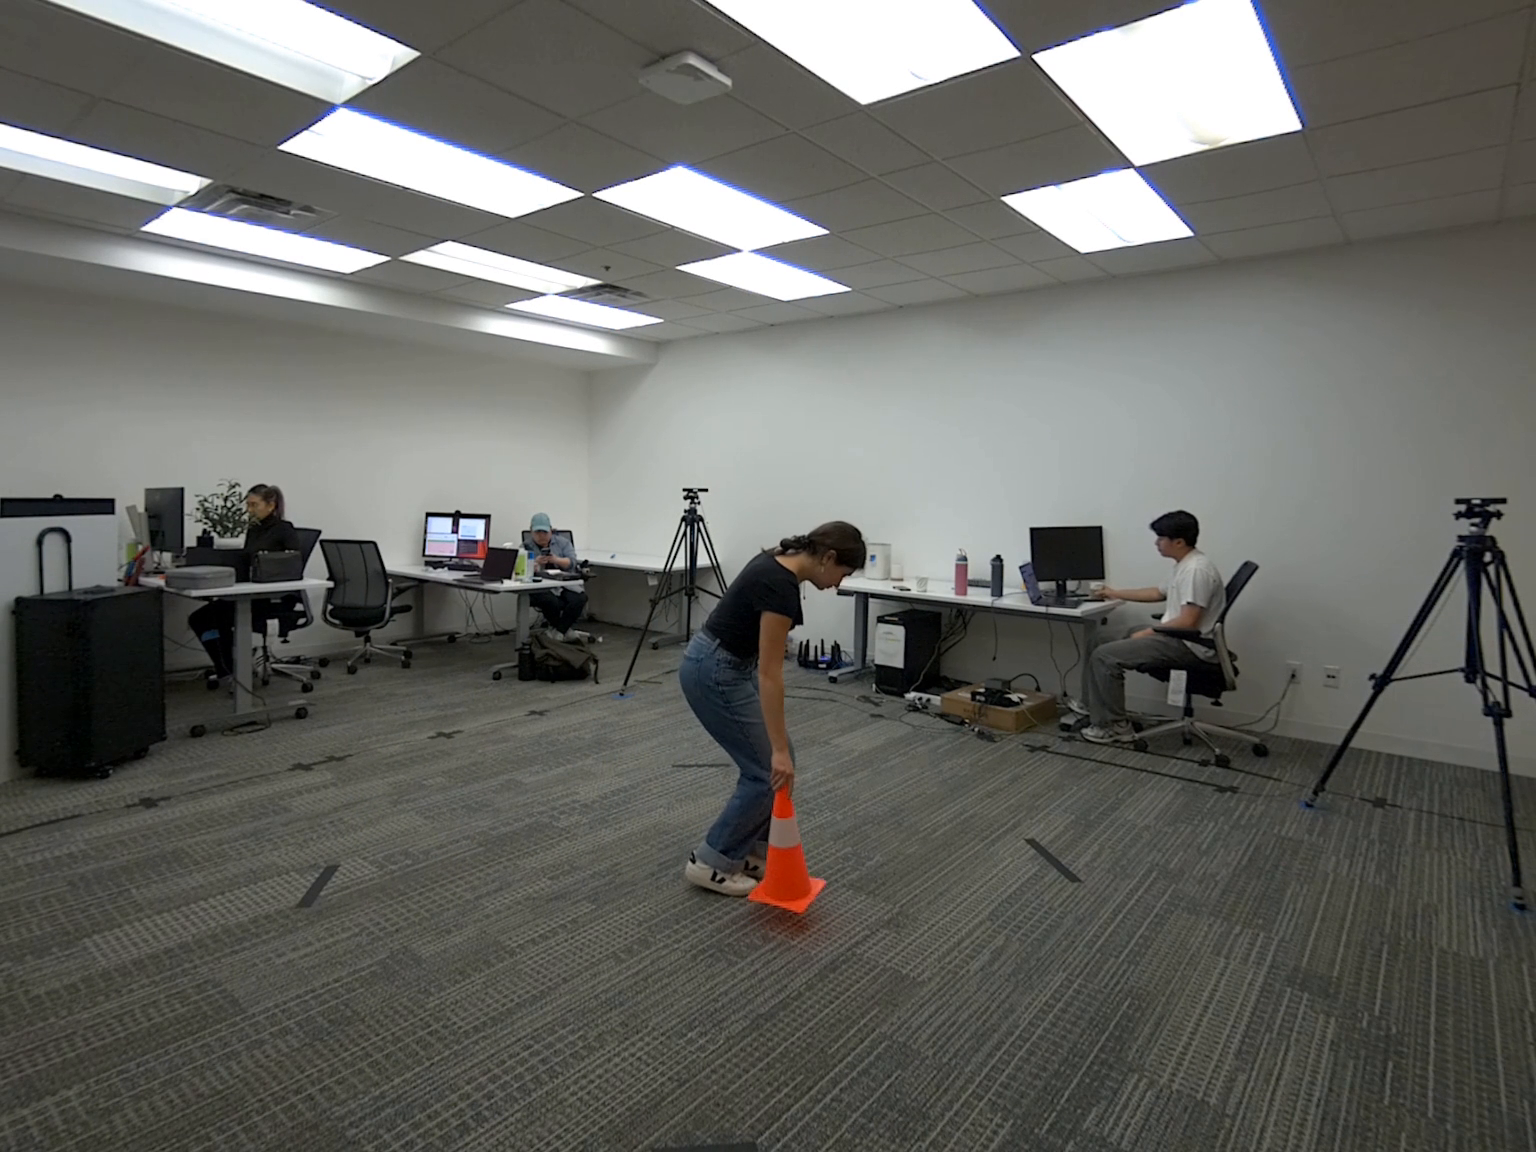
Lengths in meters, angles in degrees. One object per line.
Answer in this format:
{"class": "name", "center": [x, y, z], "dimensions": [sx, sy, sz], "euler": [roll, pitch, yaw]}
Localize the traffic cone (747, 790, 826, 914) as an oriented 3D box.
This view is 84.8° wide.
{"class": "traffic cone", "center": [0.051, 0.820, 2.734], "dimensions": [0.211, 0.381, 0.198], "euler": [4, 9, 32]}
